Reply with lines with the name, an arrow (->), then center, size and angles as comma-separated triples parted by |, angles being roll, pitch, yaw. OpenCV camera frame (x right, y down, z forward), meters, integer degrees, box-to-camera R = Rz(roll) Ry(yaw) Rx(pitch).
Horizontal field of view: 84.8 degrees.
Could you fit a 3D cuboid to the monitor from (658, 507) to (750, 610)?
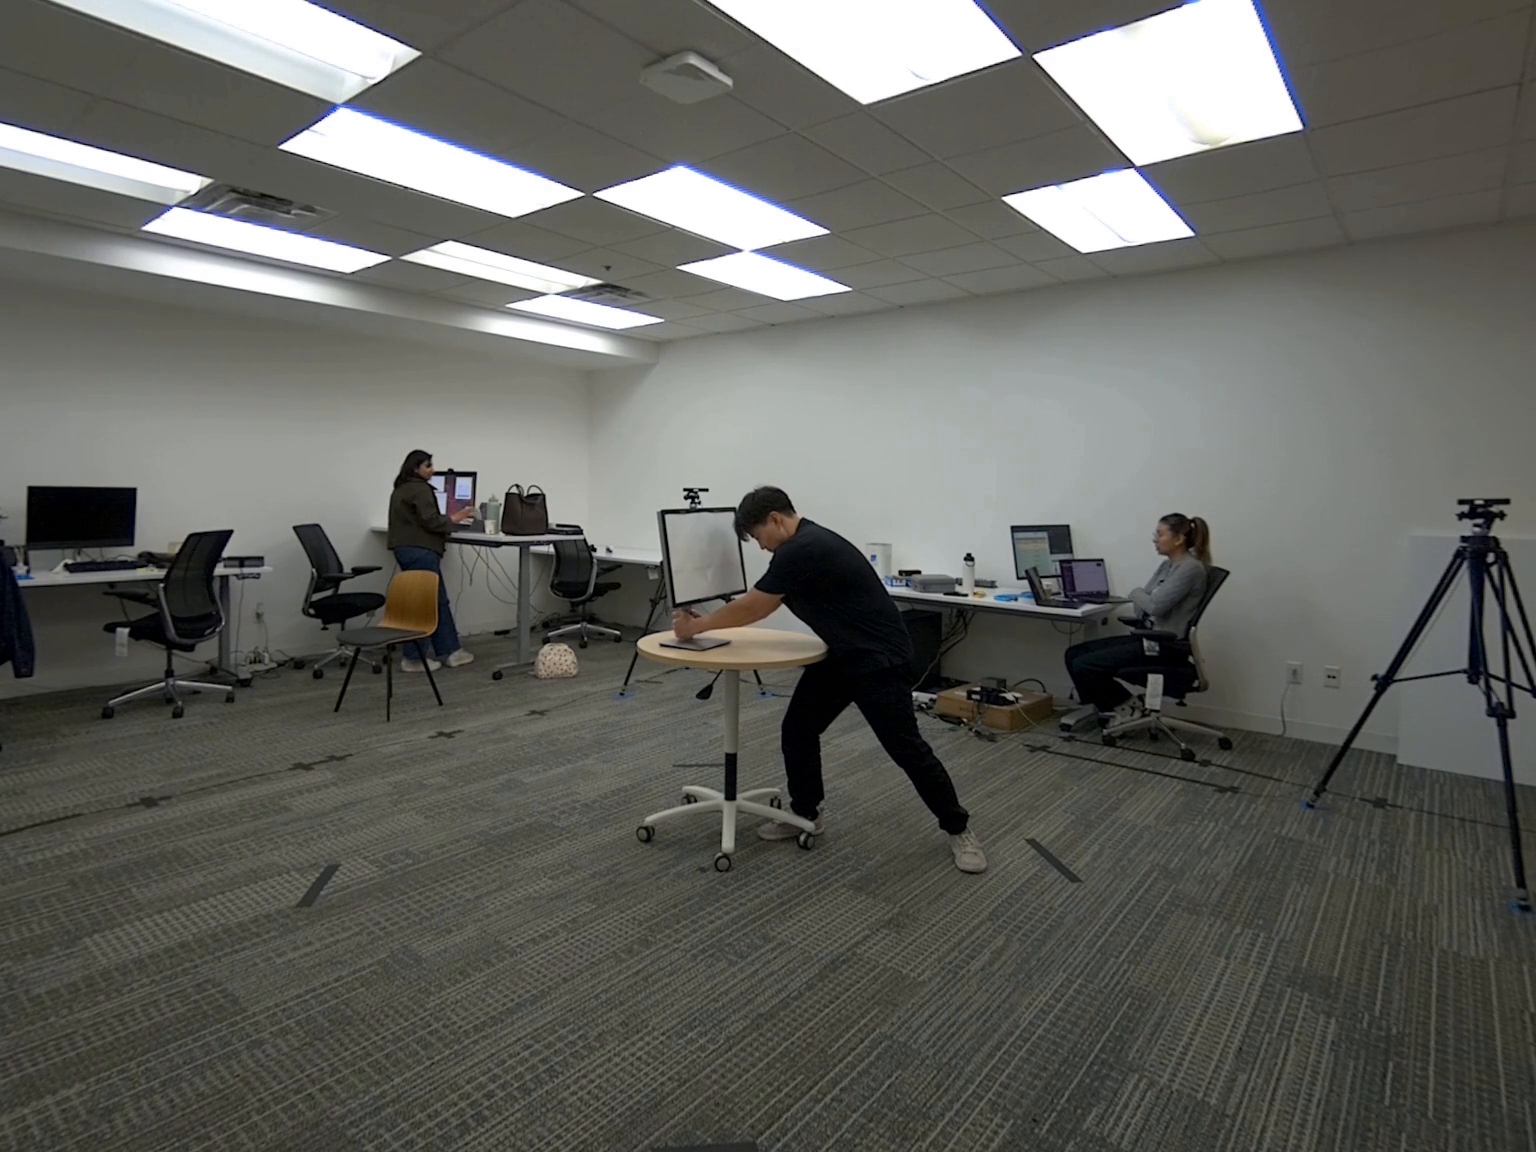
monitor -> -0.288, 0.003, 3.363 | 0.192, 0.521, 0.526 | 4, 5, 26
